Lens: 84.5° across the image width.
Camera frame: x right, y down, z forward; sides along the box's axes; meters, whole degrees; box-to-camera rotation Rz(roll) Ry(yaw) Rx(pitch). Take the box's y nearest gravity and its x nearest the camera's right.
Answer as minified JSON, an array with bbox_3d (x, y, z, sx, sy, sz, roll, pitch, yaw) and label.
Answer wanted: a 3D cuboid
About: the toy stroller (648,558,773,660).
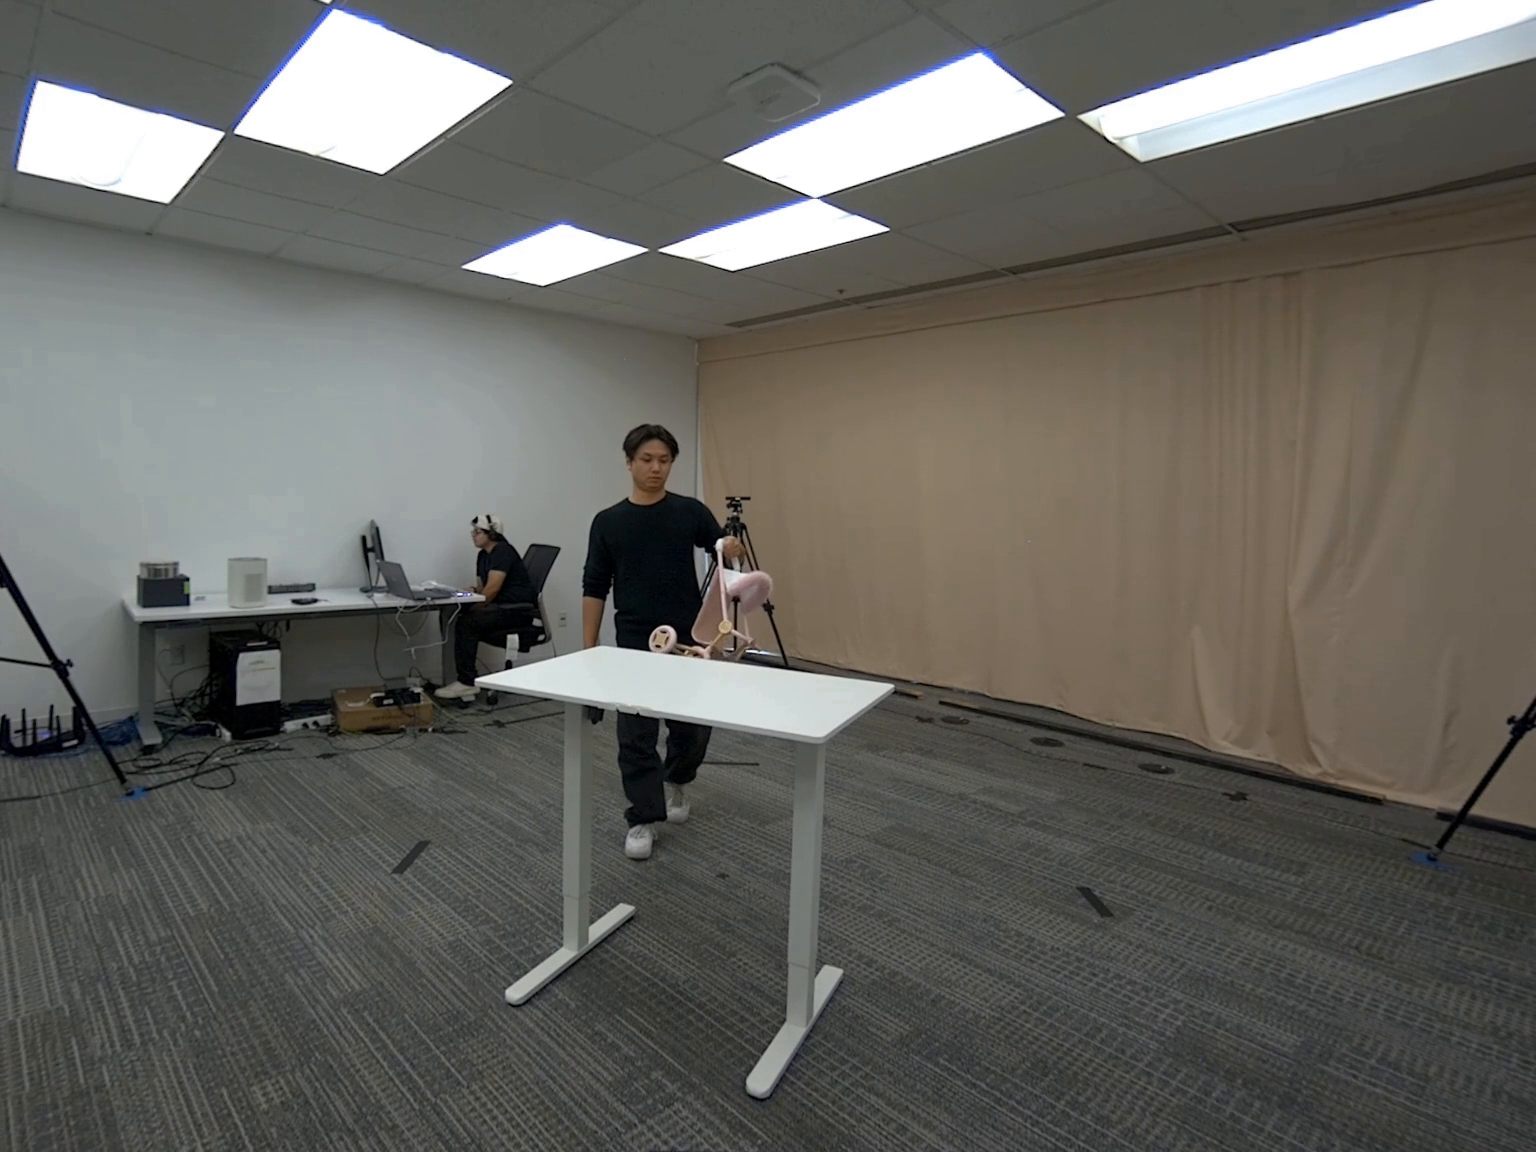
[{"bbox_3d":[-0.162,0.181,3.005,0.351,0.536,0.272,24,-10,36],"label":"toy stroller"}]
